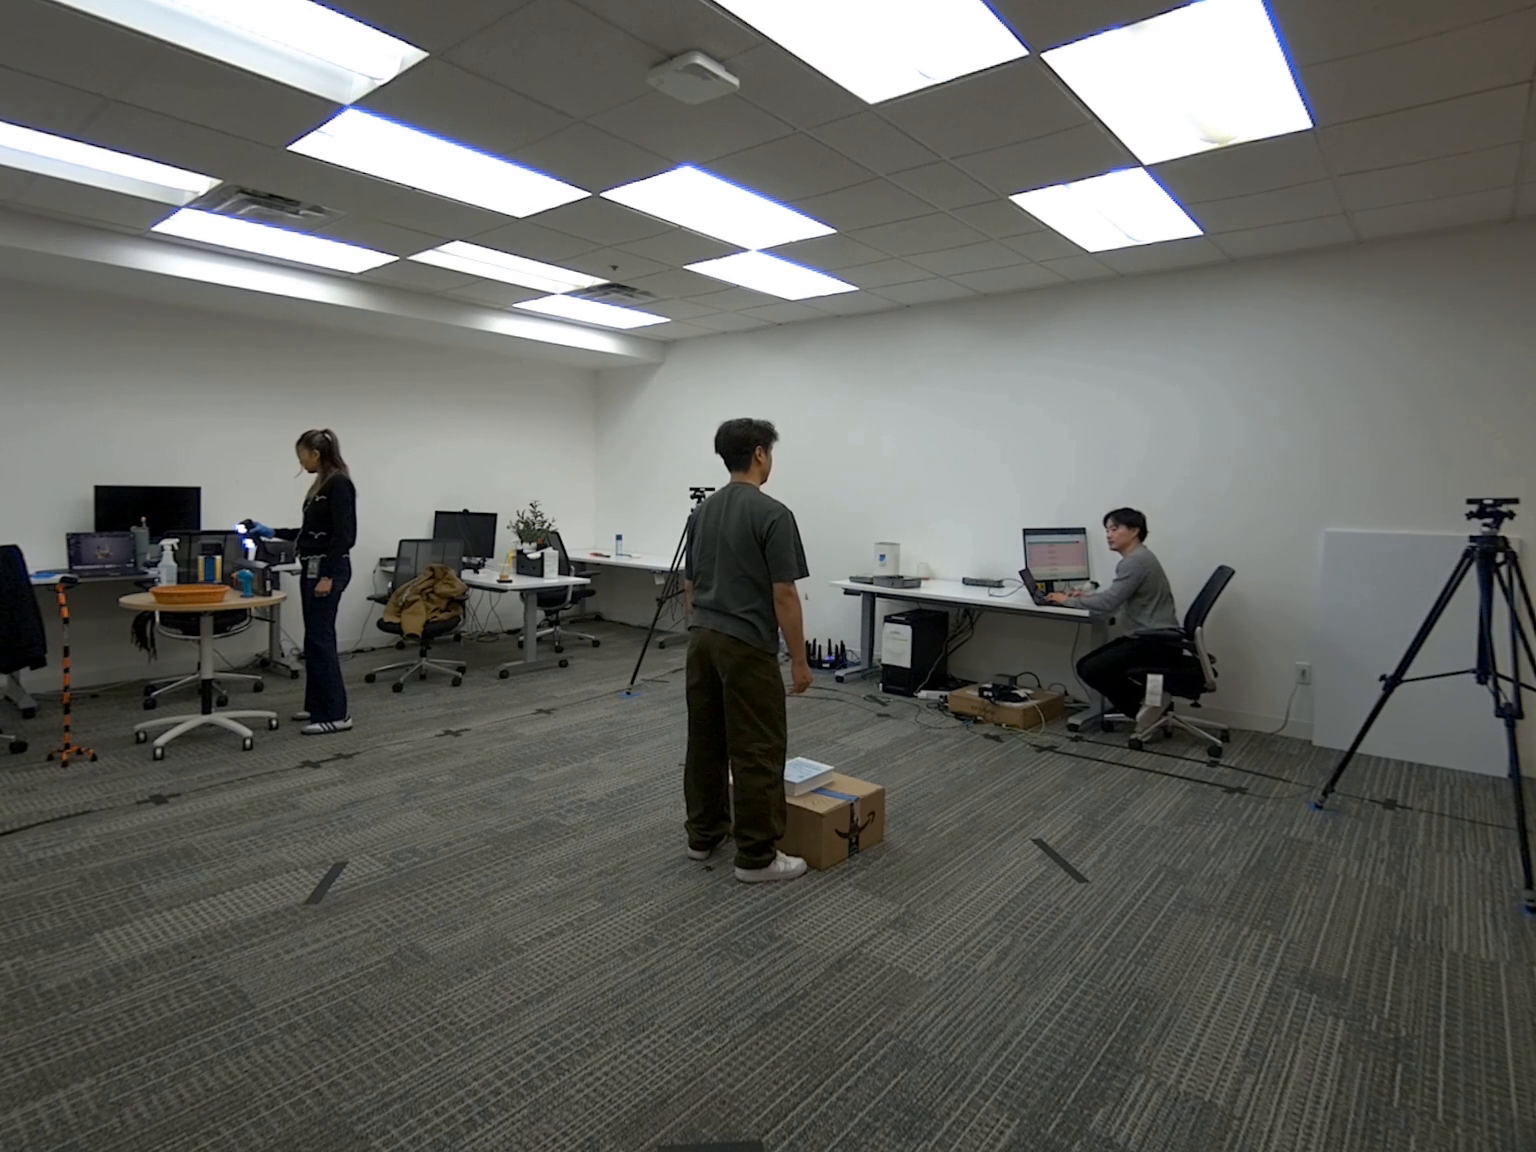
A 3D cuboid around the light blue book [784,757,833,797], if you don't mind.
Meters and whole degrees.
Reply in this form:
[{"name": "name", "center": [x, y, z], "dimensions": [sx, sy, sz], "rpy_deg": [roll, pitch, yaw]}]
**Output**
[{"name": "light blue book", "center": [0.111, 0.802, 3.434], "dimensions": [0.198, 0.059, 0.253], "rpy_deg": [6, 8, 40]}]
